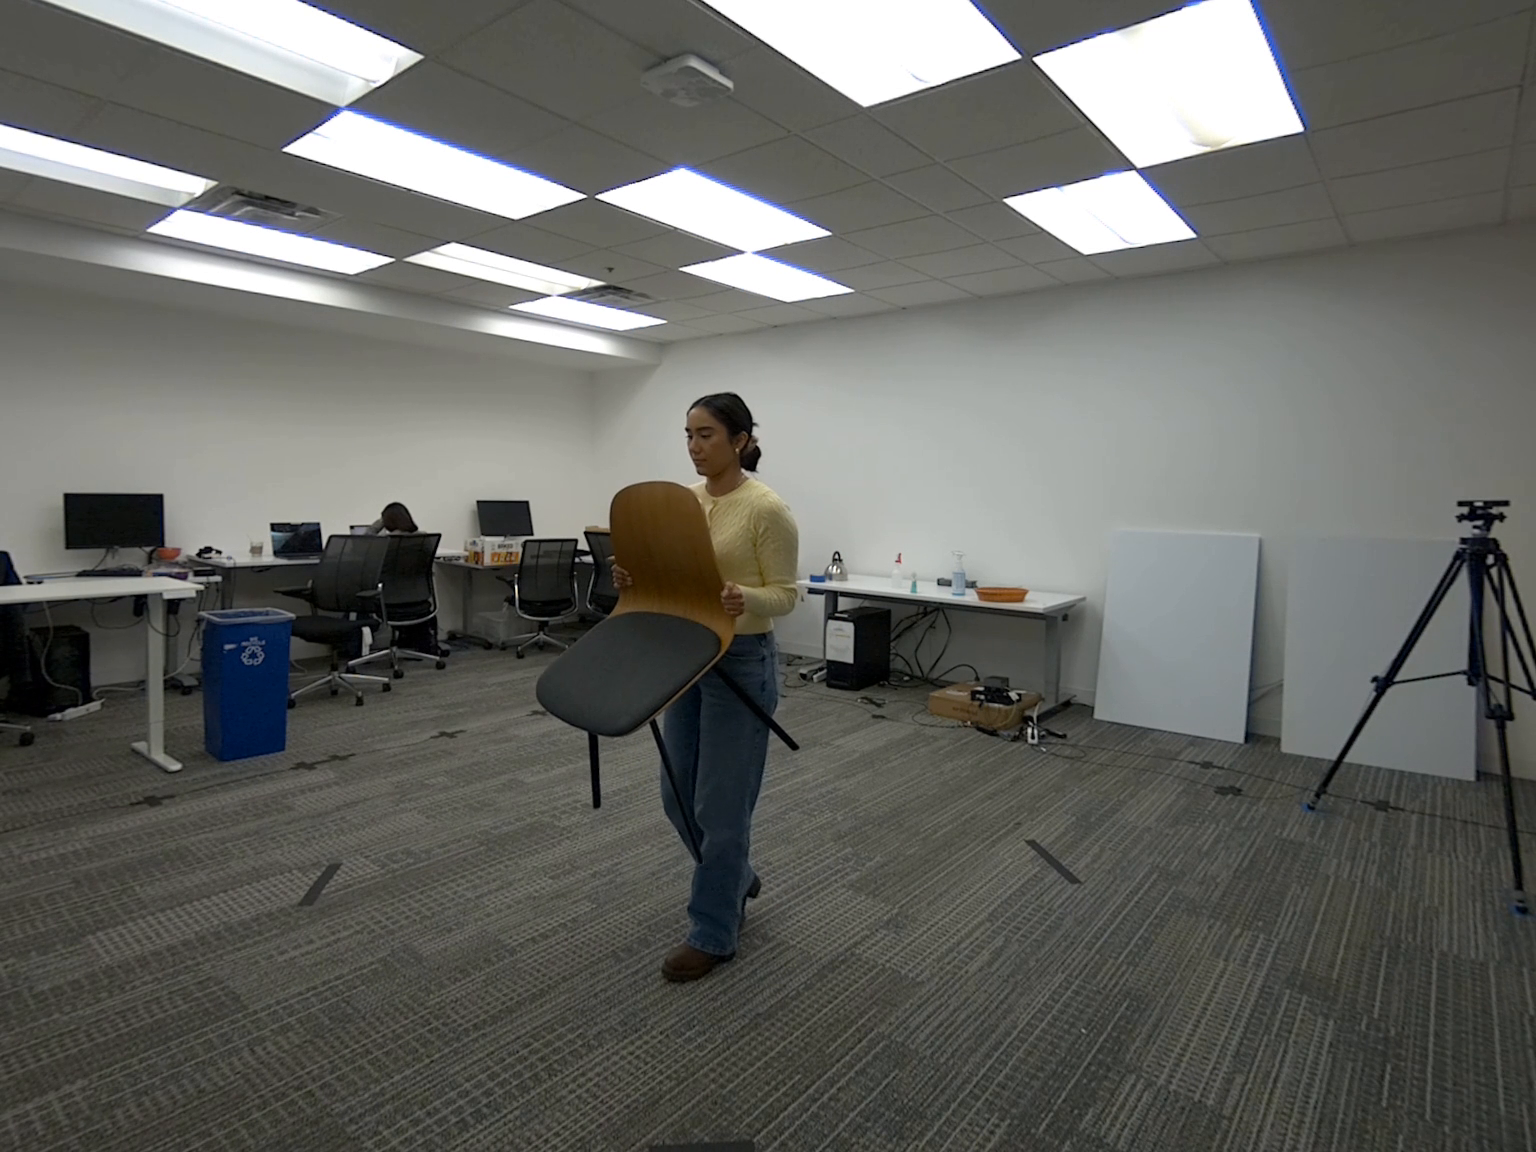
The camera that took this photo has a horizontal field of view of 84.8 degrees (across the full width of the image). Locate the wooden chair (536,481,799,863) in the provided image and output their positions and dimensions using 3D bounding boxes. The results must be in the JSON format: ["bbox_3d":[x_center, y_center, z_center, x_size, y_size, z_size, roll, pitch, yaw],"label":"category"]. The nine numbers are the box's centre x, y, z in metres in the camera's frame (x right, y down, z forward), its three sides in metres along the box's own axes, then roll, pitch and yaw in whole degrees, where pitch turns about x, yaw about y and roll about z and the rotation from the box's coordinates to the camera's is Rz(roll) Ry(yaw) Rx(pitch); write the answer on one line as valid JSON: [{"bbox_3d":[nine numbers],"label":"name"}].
[{"bbox_3d":[-0.339,0.249,2.299,0.495,0.854,0.518,10,34,40],"label":"wooden chair"}]
